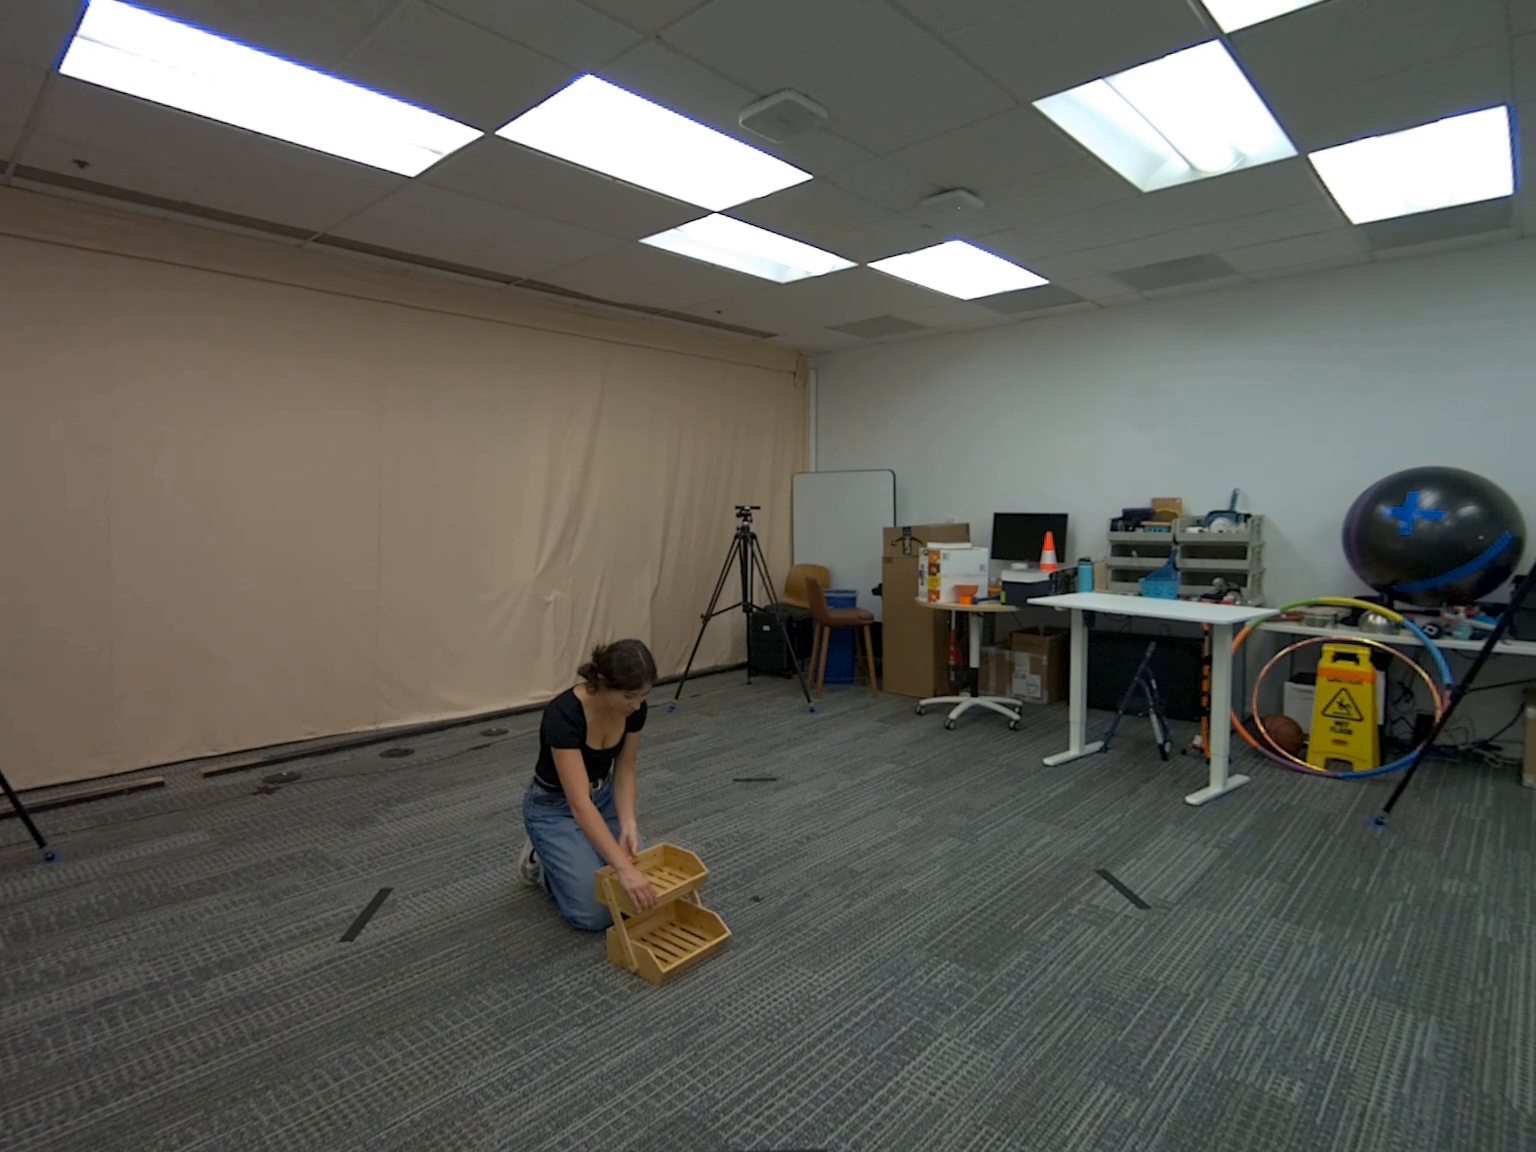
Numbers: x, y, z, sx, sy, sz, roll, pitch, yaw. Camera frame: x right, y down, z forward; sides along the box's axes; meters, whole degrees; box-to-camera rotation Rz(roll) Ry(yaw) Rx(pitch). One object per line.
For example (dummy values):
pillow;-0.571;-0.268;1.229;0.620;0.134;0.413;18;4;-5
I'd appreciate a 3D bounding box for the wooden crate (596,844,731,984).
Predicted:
wooden crate;-0.323;1.042;2.631;0.312;0.273;0.314;2;5;41
